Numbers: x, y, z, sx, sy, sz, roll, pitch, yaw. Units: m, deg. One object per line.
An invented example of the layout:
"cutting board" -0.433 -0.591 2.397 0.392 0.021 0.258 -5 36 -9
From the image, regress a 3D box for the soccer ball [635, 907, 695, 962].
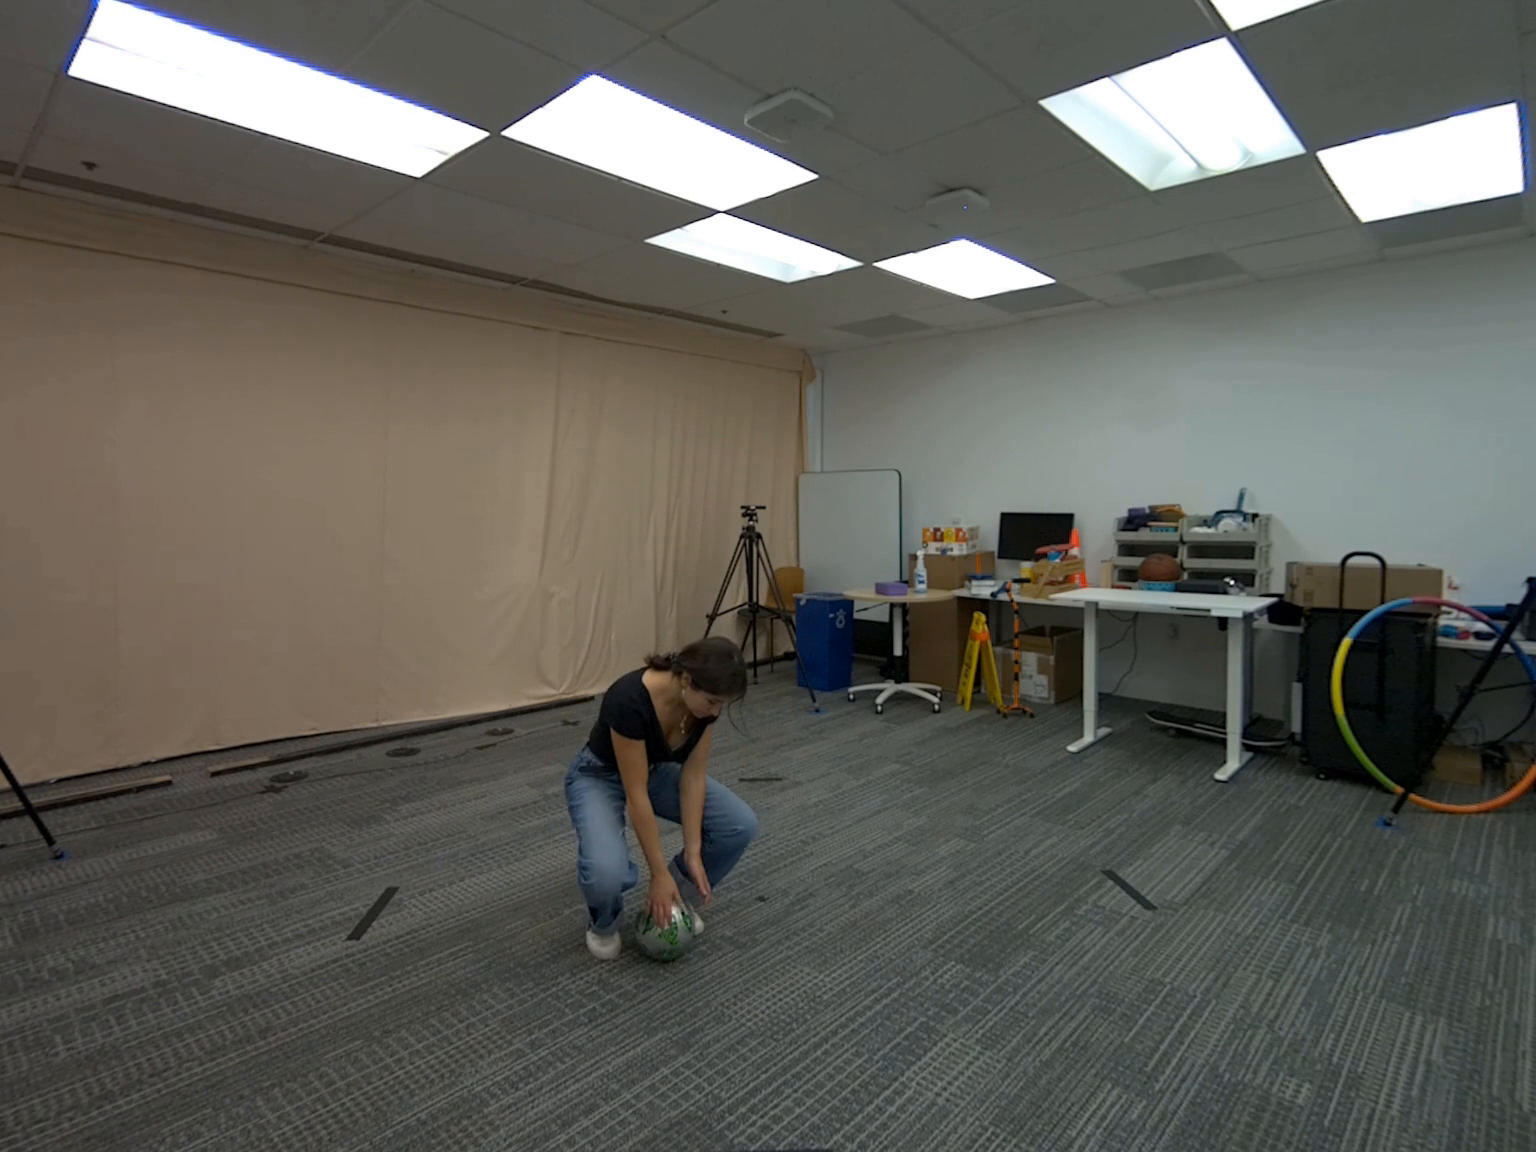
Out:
"soccer ball" -0.317 1.080 2.594 0.187 0.187 0.188 0 4 -2
